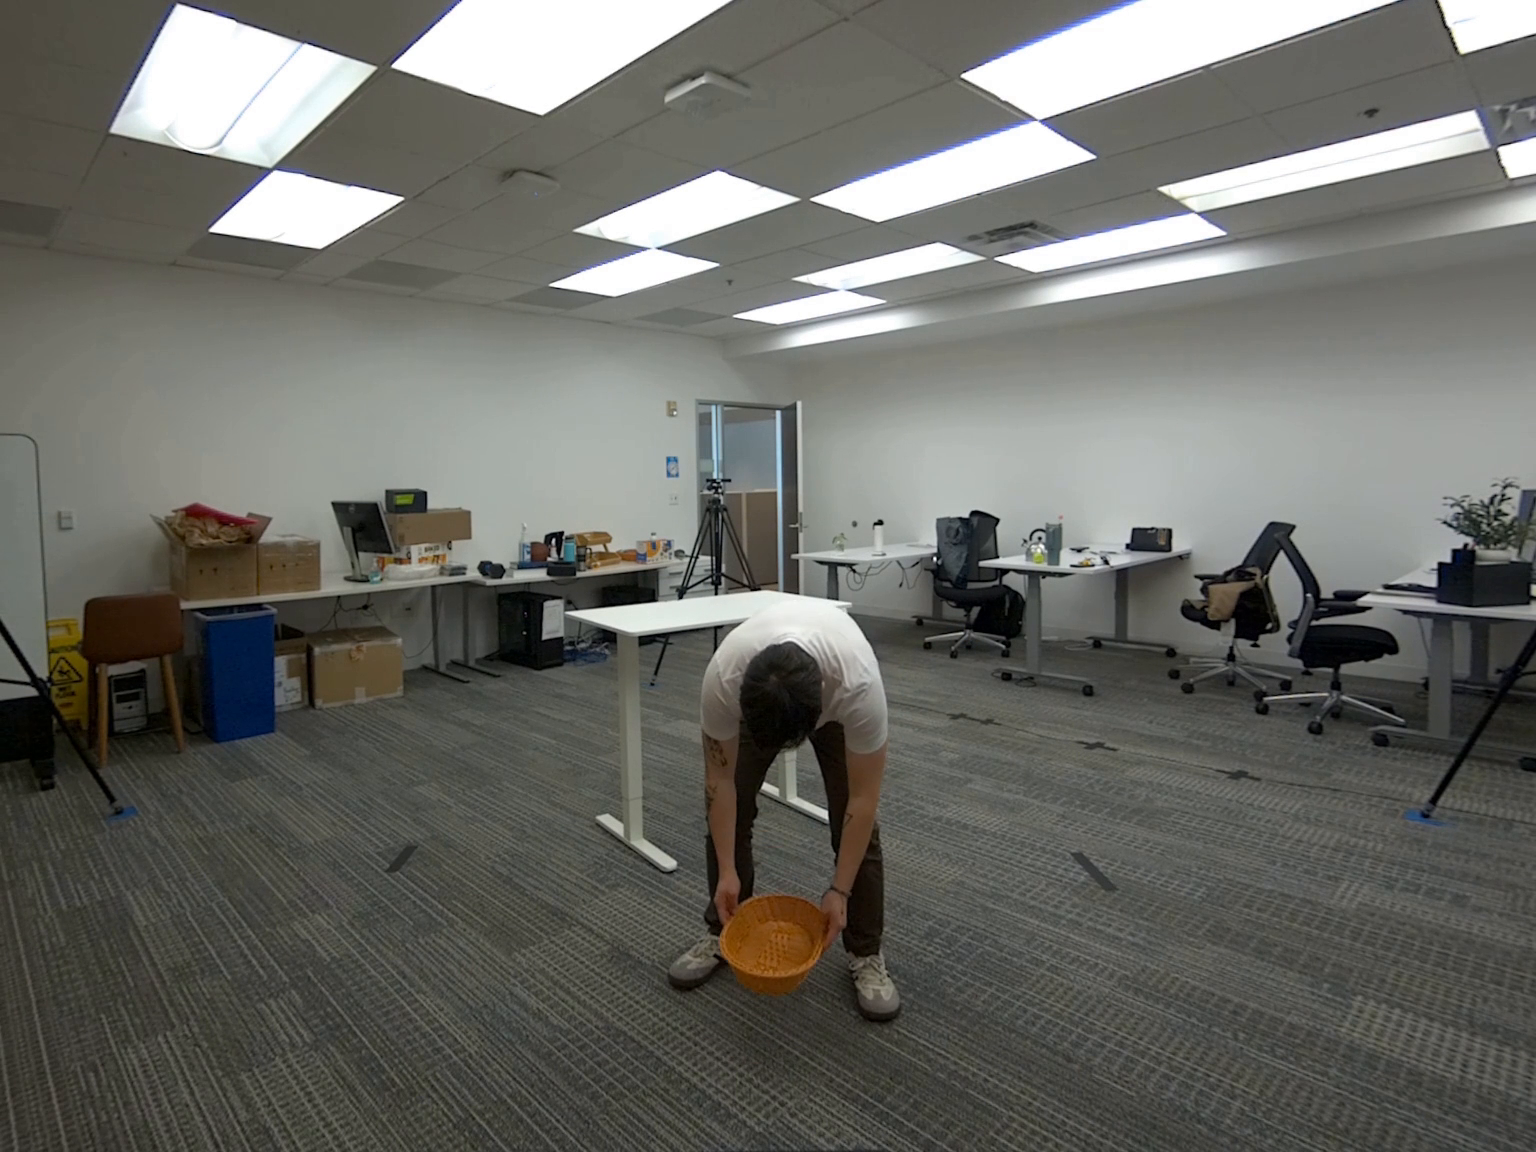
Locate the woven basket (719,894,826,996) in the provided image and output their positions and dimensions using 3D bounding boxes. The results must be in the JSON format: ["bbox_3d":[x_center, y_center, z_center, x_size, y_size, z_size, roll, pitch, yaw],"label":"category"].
[{"bbox_3d":[0.028,0.909,2.100,0.256,0.073,0.349,4,10,11],"label":"woven basket"}]
